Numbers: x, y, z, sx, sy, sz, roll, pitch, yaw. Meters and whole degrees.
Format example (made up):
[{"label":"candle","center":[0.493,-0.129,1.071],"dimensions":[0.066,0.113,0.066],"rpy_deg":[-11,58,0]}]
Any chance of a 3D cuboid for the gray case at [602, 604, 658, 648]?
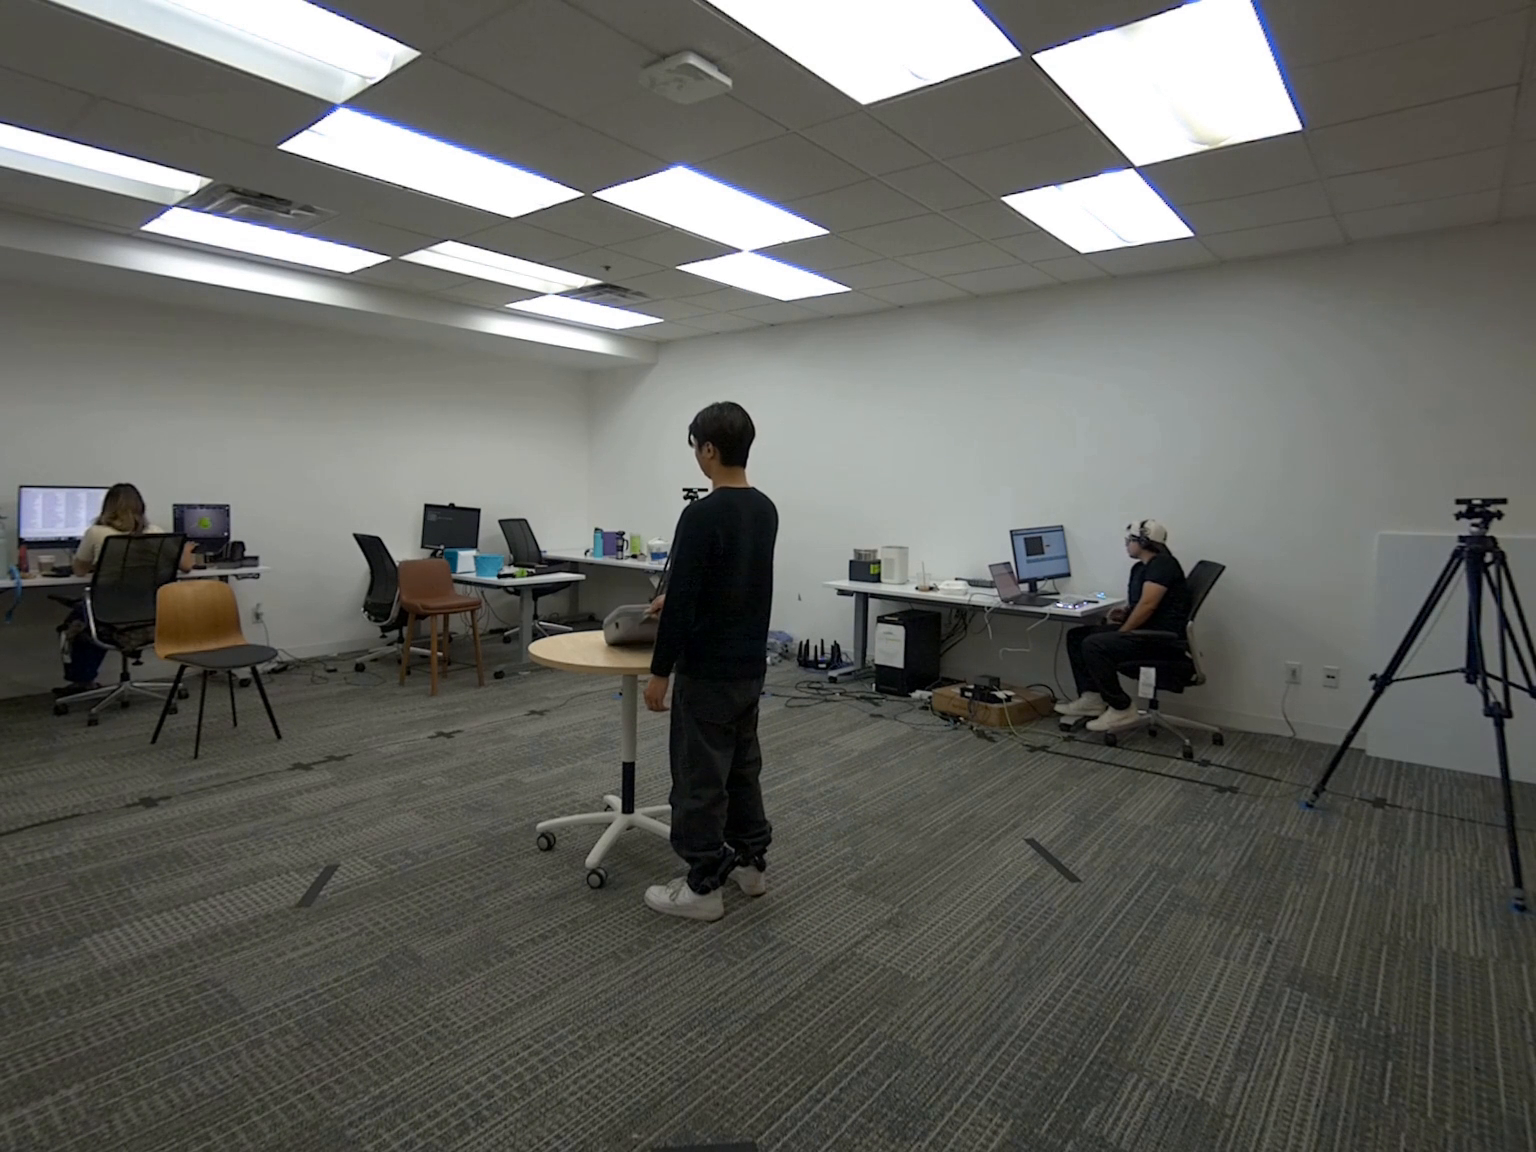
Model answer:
[{"label":"gray case","center":[-0.490,0.181,3.233],"dimensions":[0.251,0.106,0.262],"rpy_deg":[-2,-16,-24]}]
